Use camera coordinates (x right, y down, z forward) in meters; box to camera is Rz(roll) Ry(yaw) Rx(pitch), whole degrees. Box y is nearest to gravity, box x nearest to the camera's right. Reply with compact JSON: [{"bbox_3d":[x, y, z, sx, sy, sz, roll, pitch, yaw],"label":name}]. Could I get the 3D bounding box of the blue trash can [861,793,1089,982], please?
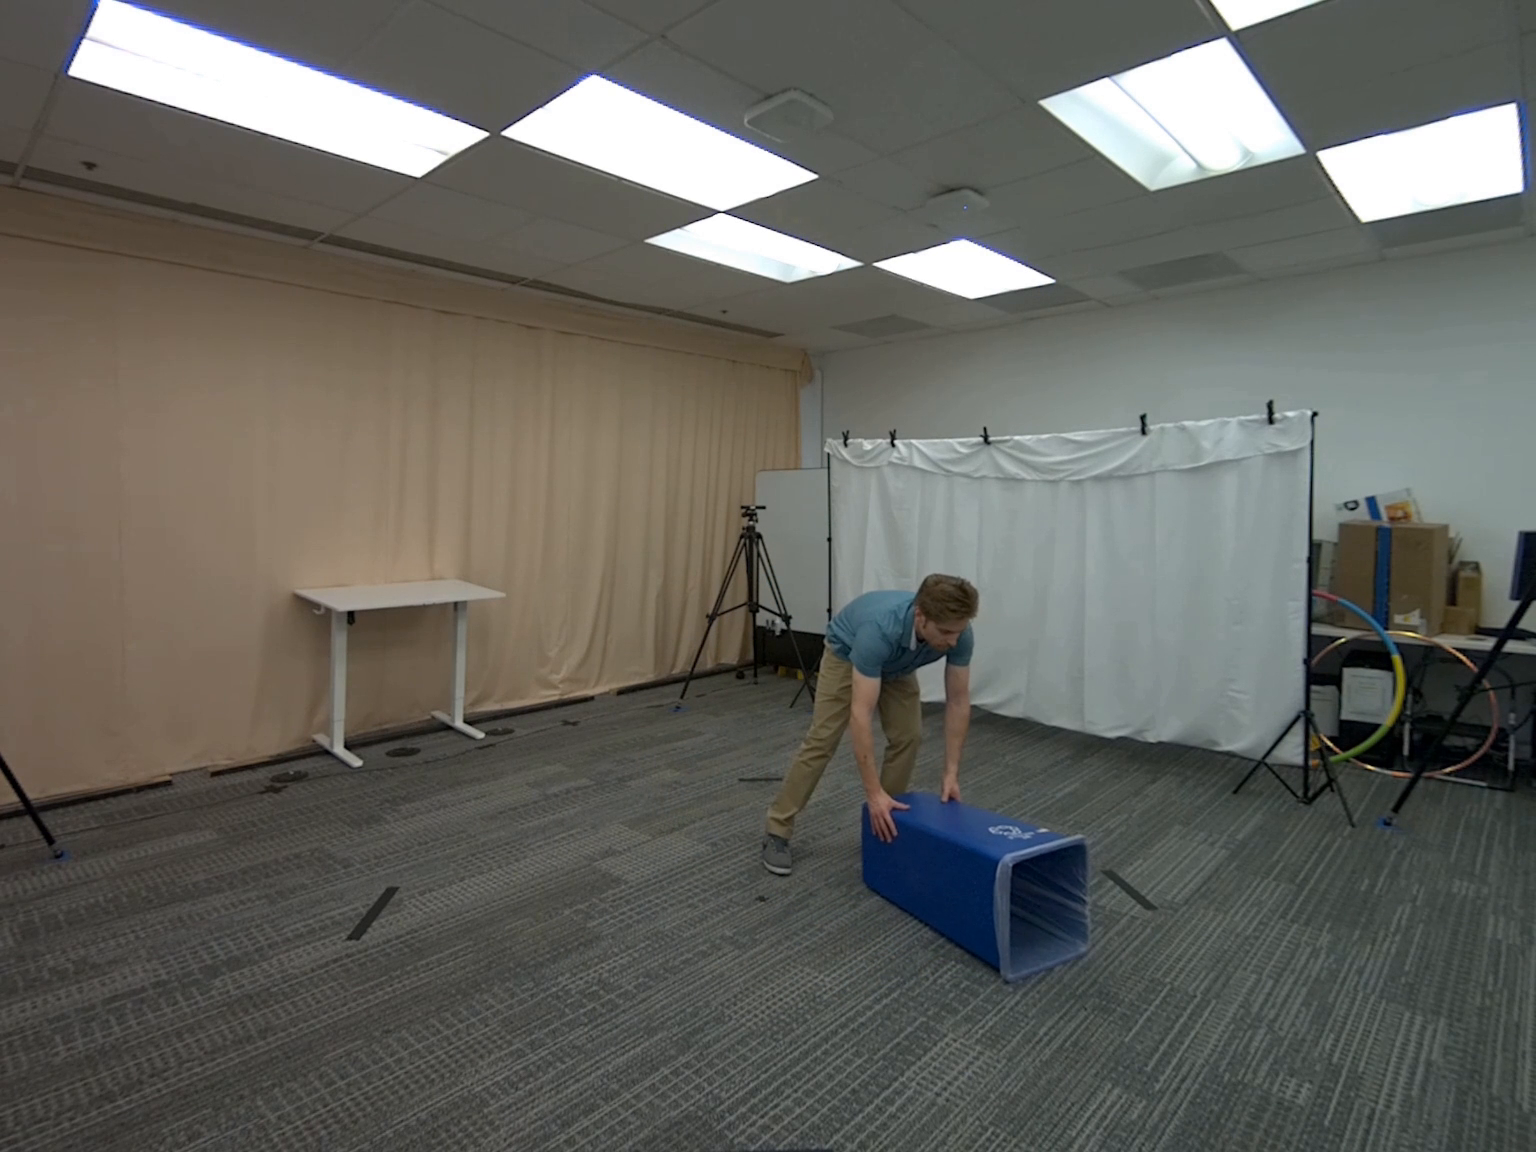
[{"bbox_3d":[0.659,0.988,2.833,0.364,0.378,0.734,-1,1,-31],"label":"blue trash can"}]
